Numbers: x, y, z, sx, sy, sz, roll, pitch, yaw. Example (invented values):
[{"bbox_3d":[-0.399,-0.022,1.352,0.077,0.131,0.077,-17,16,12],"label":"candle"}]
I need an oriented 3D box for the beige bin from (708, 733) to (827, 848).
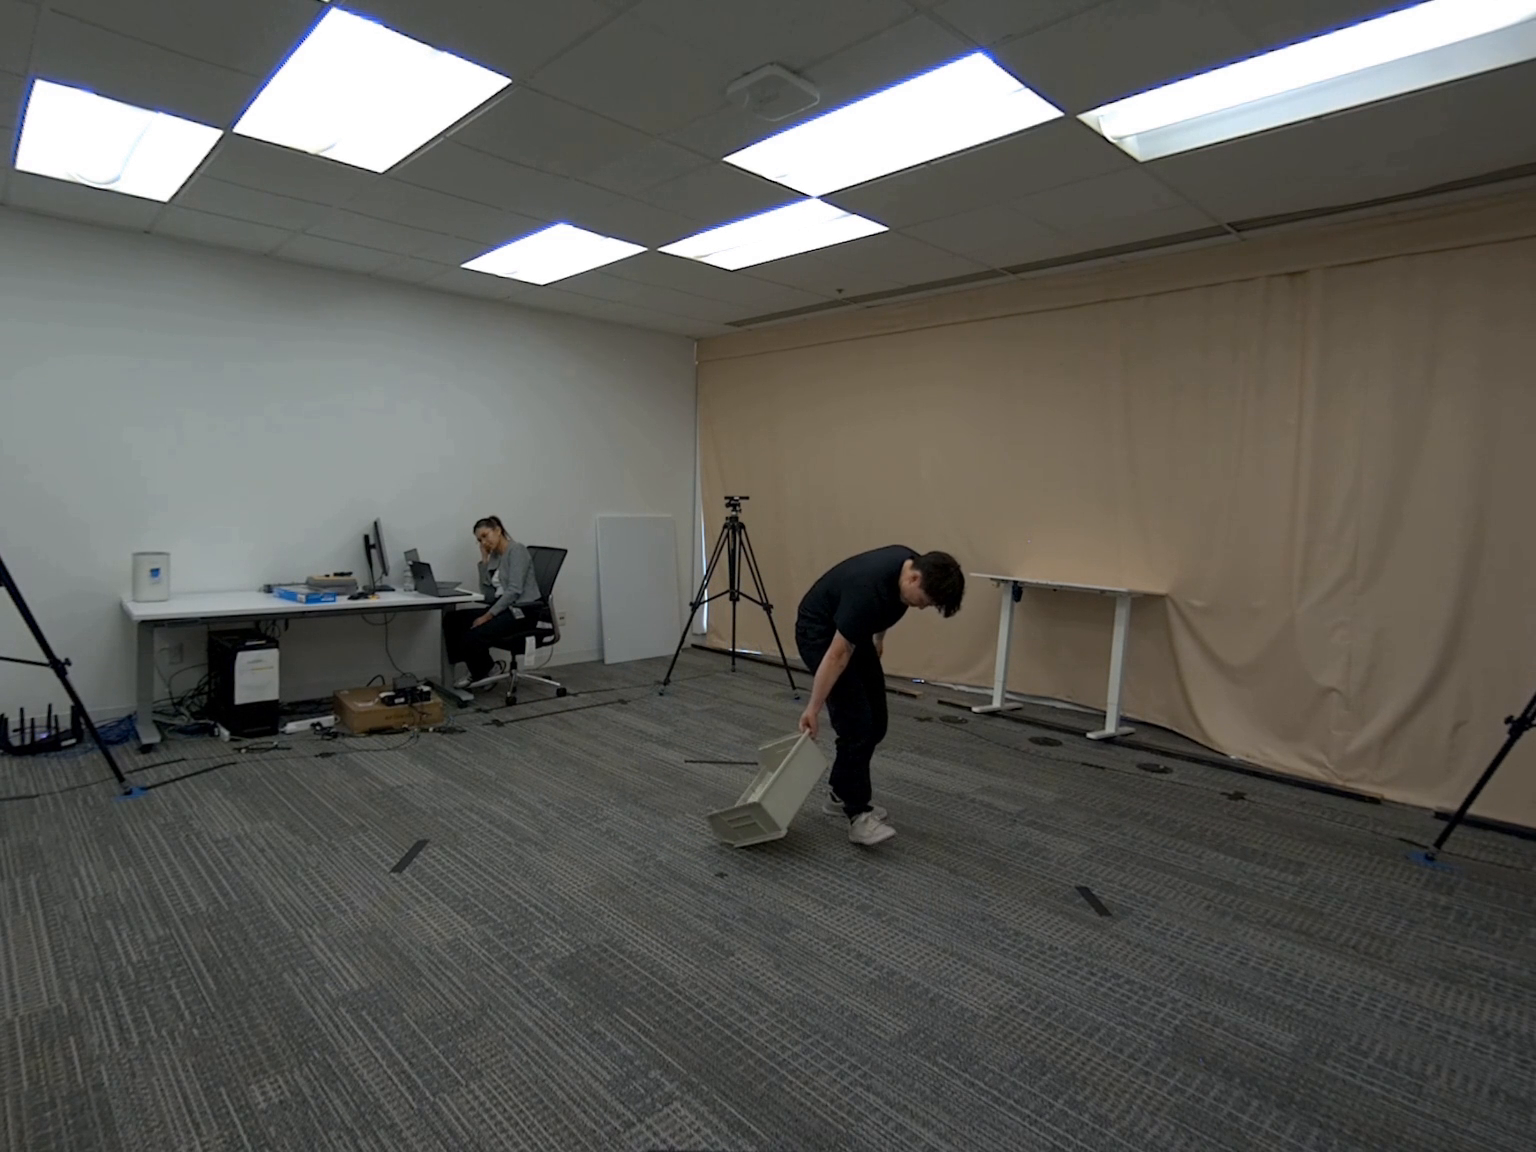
[{"bbox_3d":[-0.011,0.866,3.385,0.381,0.187,0.421,-29,12,43],"label":"beige bin"}]
